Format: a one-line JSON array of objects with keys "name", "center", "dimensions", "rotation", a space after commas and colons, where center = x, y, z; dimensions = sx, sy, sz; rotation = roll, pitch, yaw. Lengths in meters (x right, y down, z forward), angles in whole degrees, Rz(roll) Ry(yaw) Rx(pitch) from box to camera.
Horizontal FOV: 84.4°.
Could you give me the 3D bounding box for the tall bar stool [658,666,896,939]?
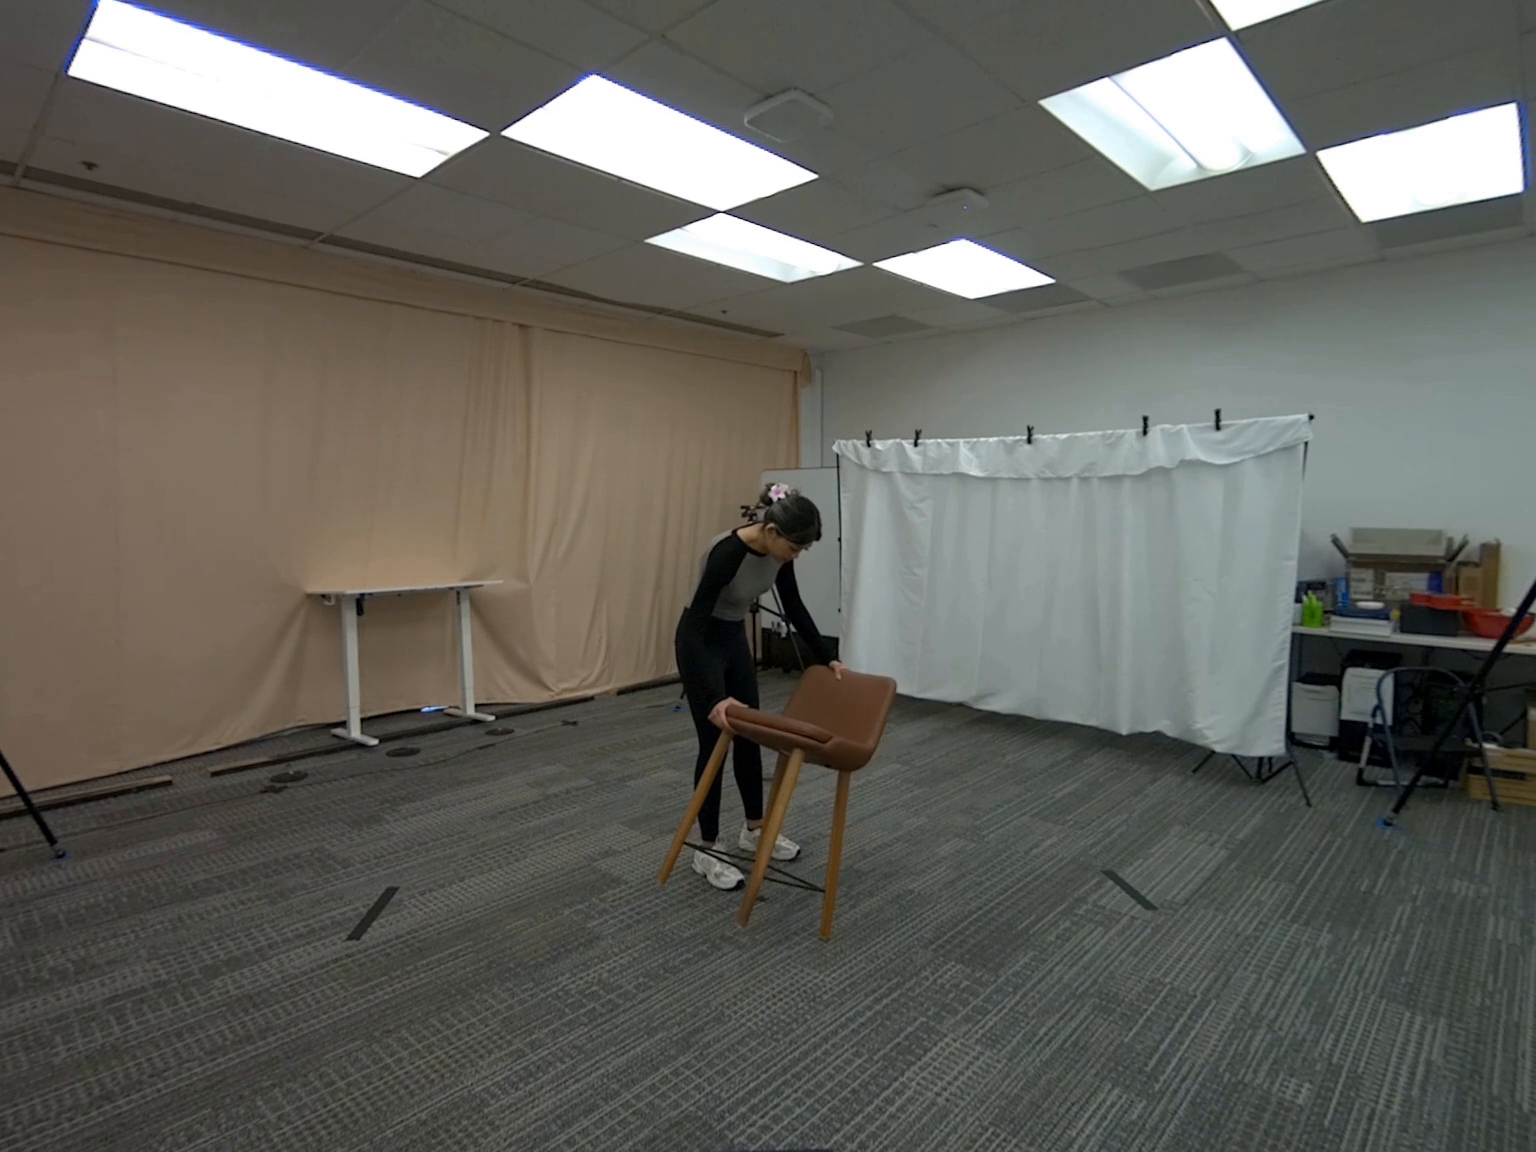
[{"name": "tall bar stool", "center": [0.067, 0.674, 2.806], "dimensions": [0.472, 0.893, 0.451], "rotation": [3, -21, 46]}]
